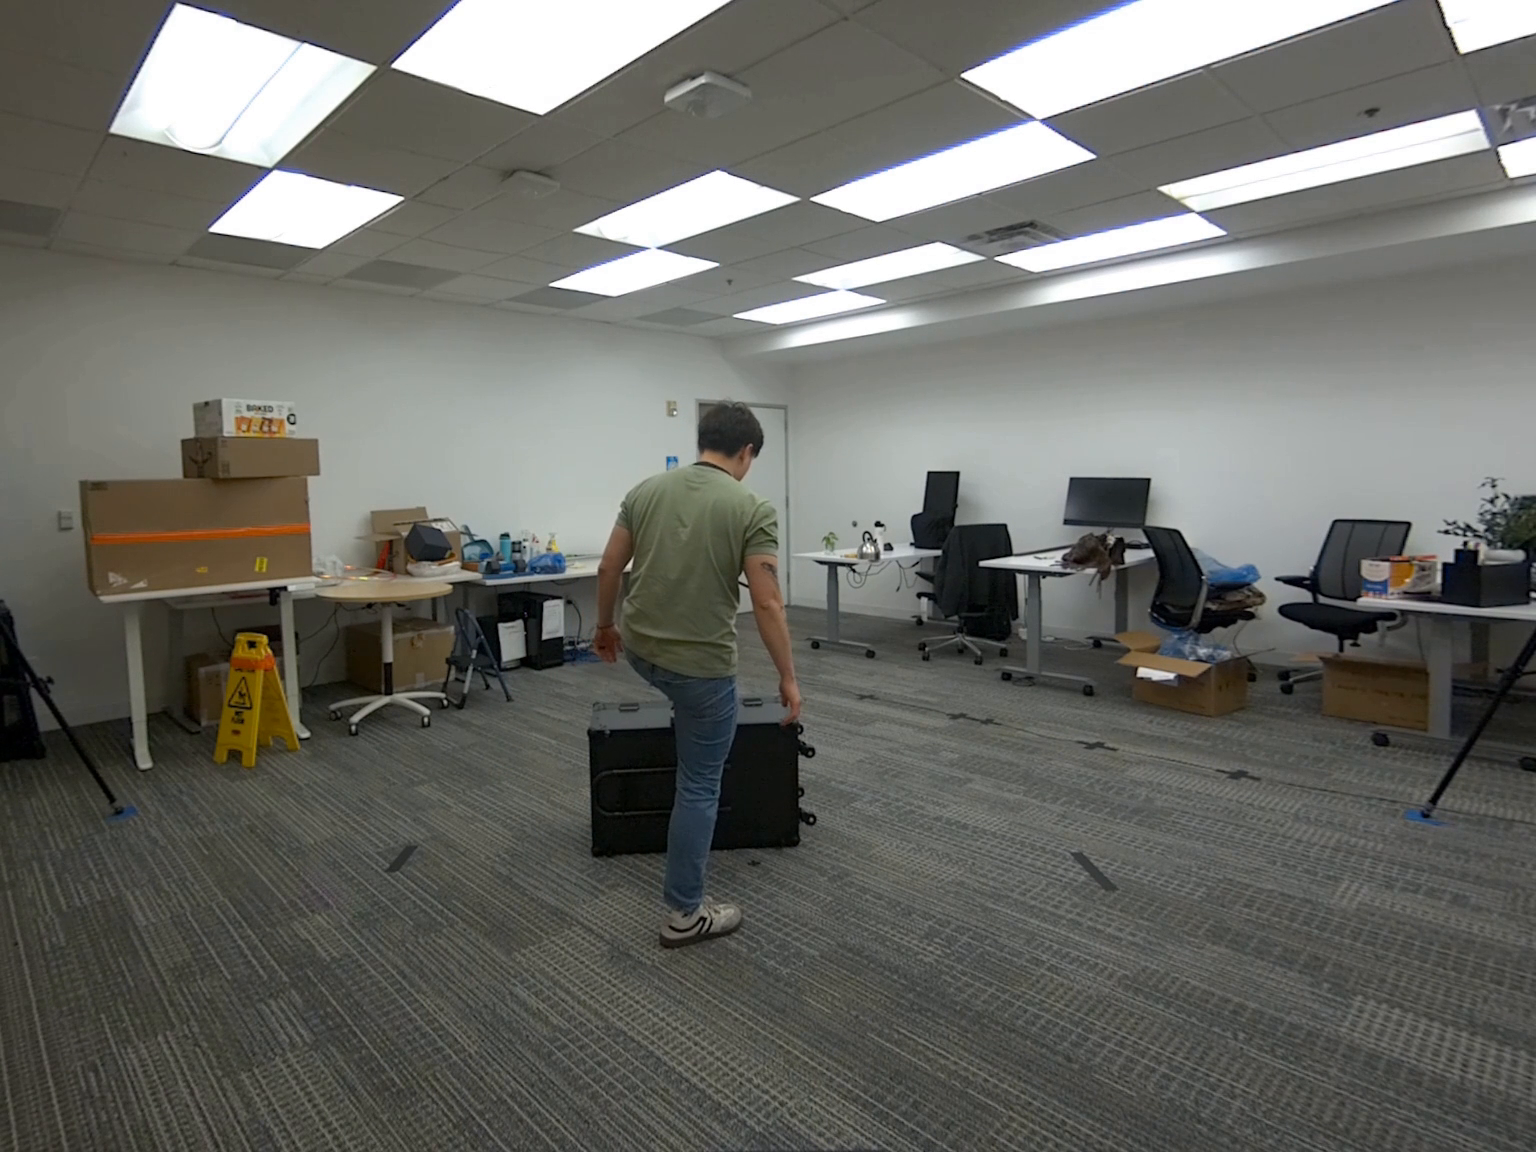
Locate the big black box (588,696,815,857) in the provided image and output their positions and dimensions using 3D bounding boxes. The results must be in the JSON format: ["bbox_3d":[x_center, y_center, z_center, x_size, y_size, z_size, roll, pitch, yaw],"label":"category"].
[{"bbox_3d":[-0.262,0.767,3.348,0.857,0.518,0.400,-1,6,-5],"label":"big black box"}]
